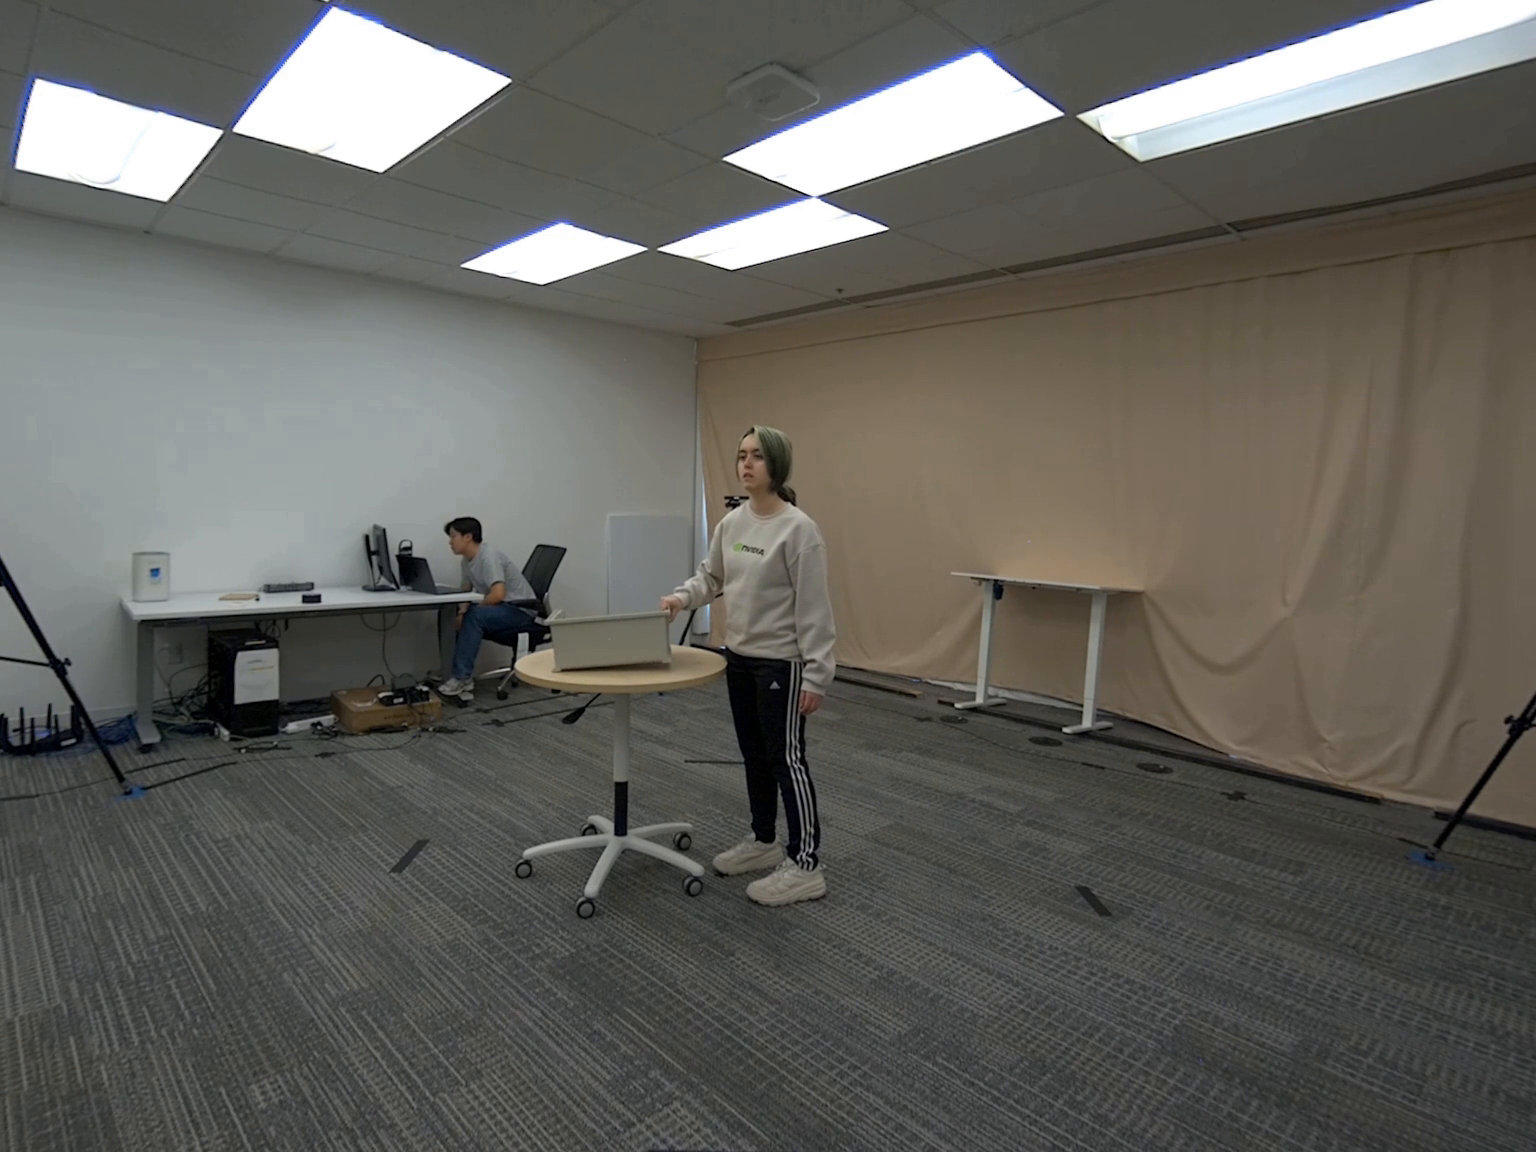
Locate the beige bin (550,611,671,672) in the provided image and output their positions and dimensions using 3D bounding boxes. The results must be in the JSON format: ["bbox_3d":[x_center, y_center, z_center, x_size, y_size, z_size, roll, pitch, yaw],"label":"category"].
[{"bbox_3d":[-0.565,0.216,3.055,0.421,0.188,0.379,-4,4,-5],"label":"beige bin"}]
